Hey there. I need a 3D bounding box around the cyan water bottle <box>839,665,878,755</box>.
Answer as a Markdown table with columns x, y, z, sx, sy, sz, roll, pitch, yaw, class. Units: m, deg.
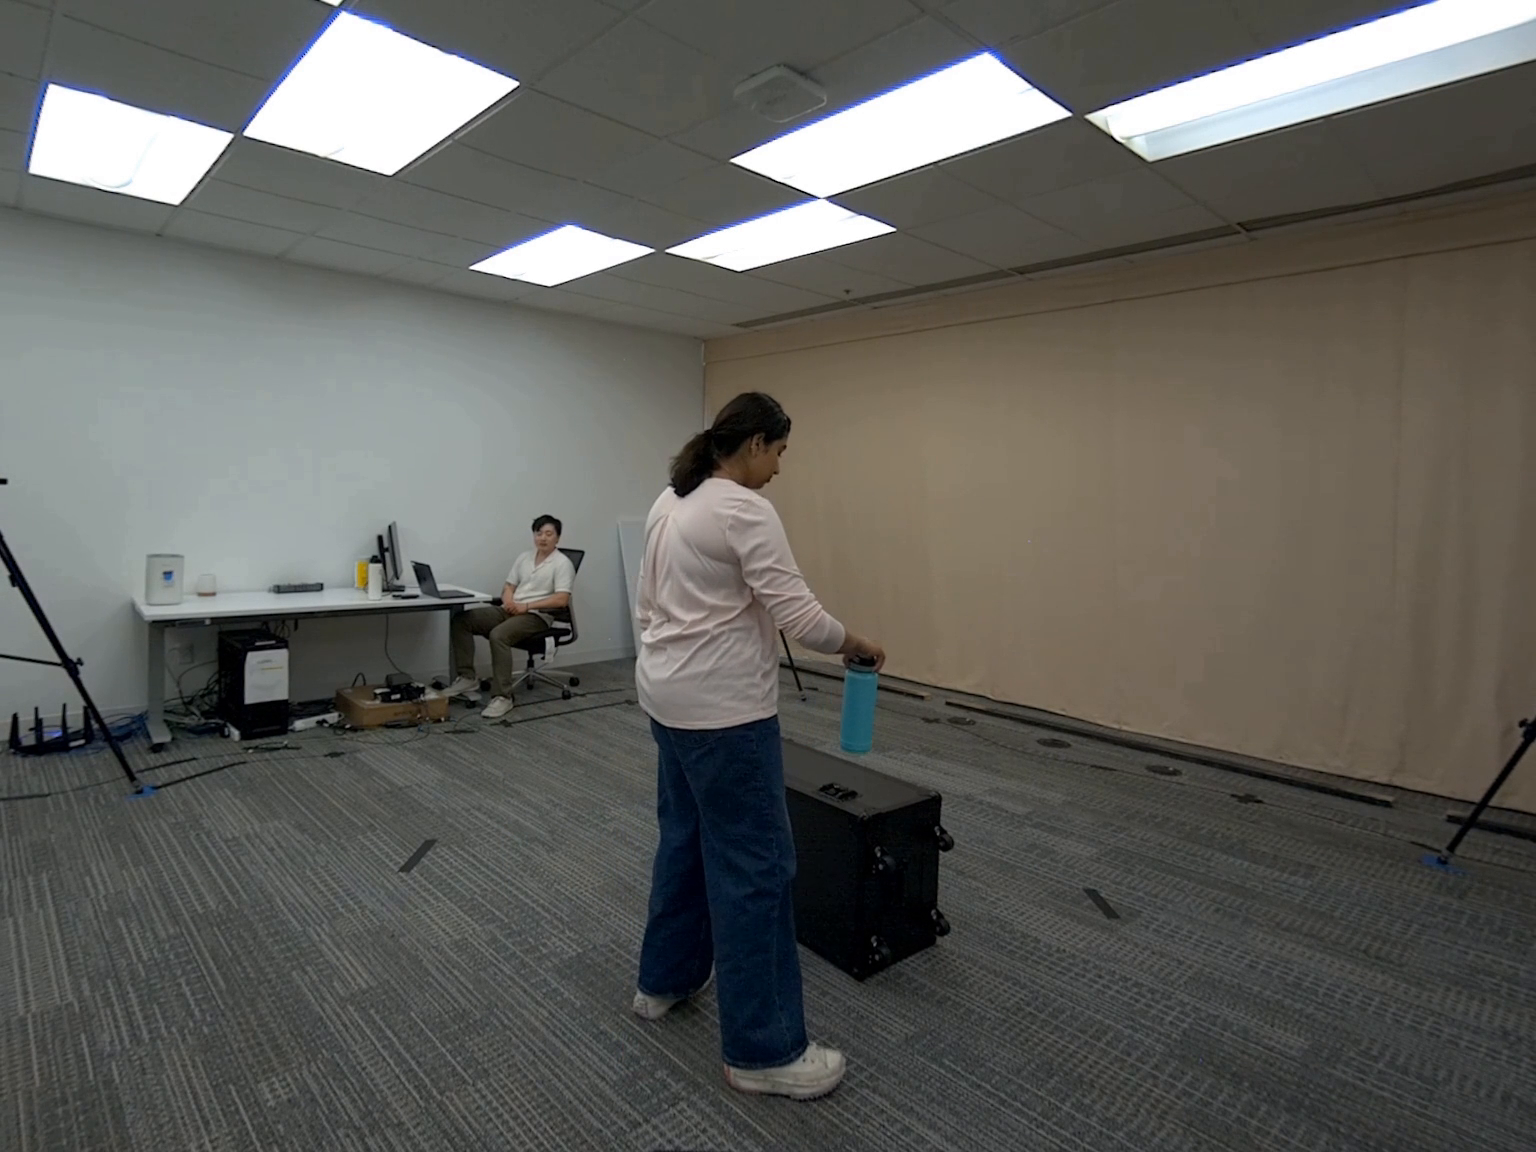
| x | y | z | sx | sy | sz | roll | pitch | yaw | class |
| --- | --- | --- | --- | --- | --- | --- | --- | --- | --- |
| 0.249 | 0.341 | 2.299 | 0.092 | 0.282 | 0.093 | 2 | 8 | -2 | cyan water bottle |
